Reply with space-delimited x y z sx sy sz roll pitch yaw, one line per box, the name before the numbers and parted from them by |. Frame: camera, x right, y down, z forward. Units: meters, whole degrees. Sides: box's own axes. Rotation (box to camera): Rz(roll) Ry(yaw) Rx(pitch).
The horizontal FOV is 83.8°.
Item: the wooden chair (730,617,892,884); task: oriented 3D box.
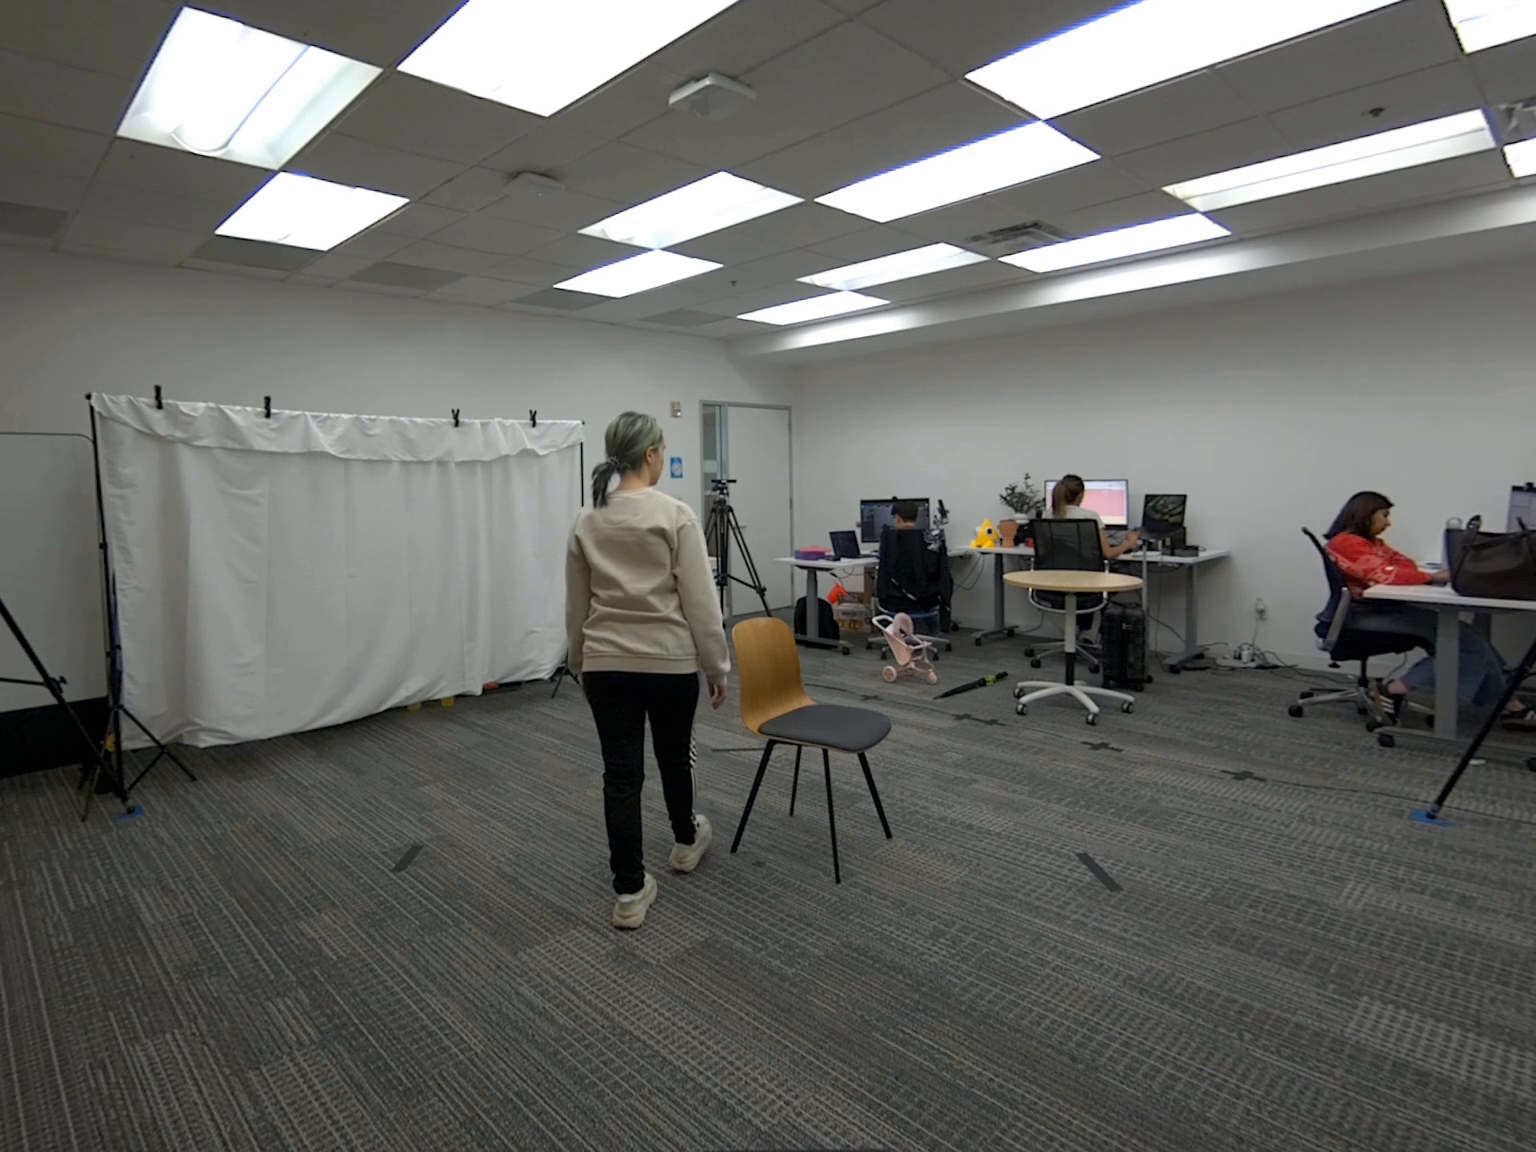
wooden chair | 0.172 0.602 3.220 0.537 0.876 0.466 -3 2 34
